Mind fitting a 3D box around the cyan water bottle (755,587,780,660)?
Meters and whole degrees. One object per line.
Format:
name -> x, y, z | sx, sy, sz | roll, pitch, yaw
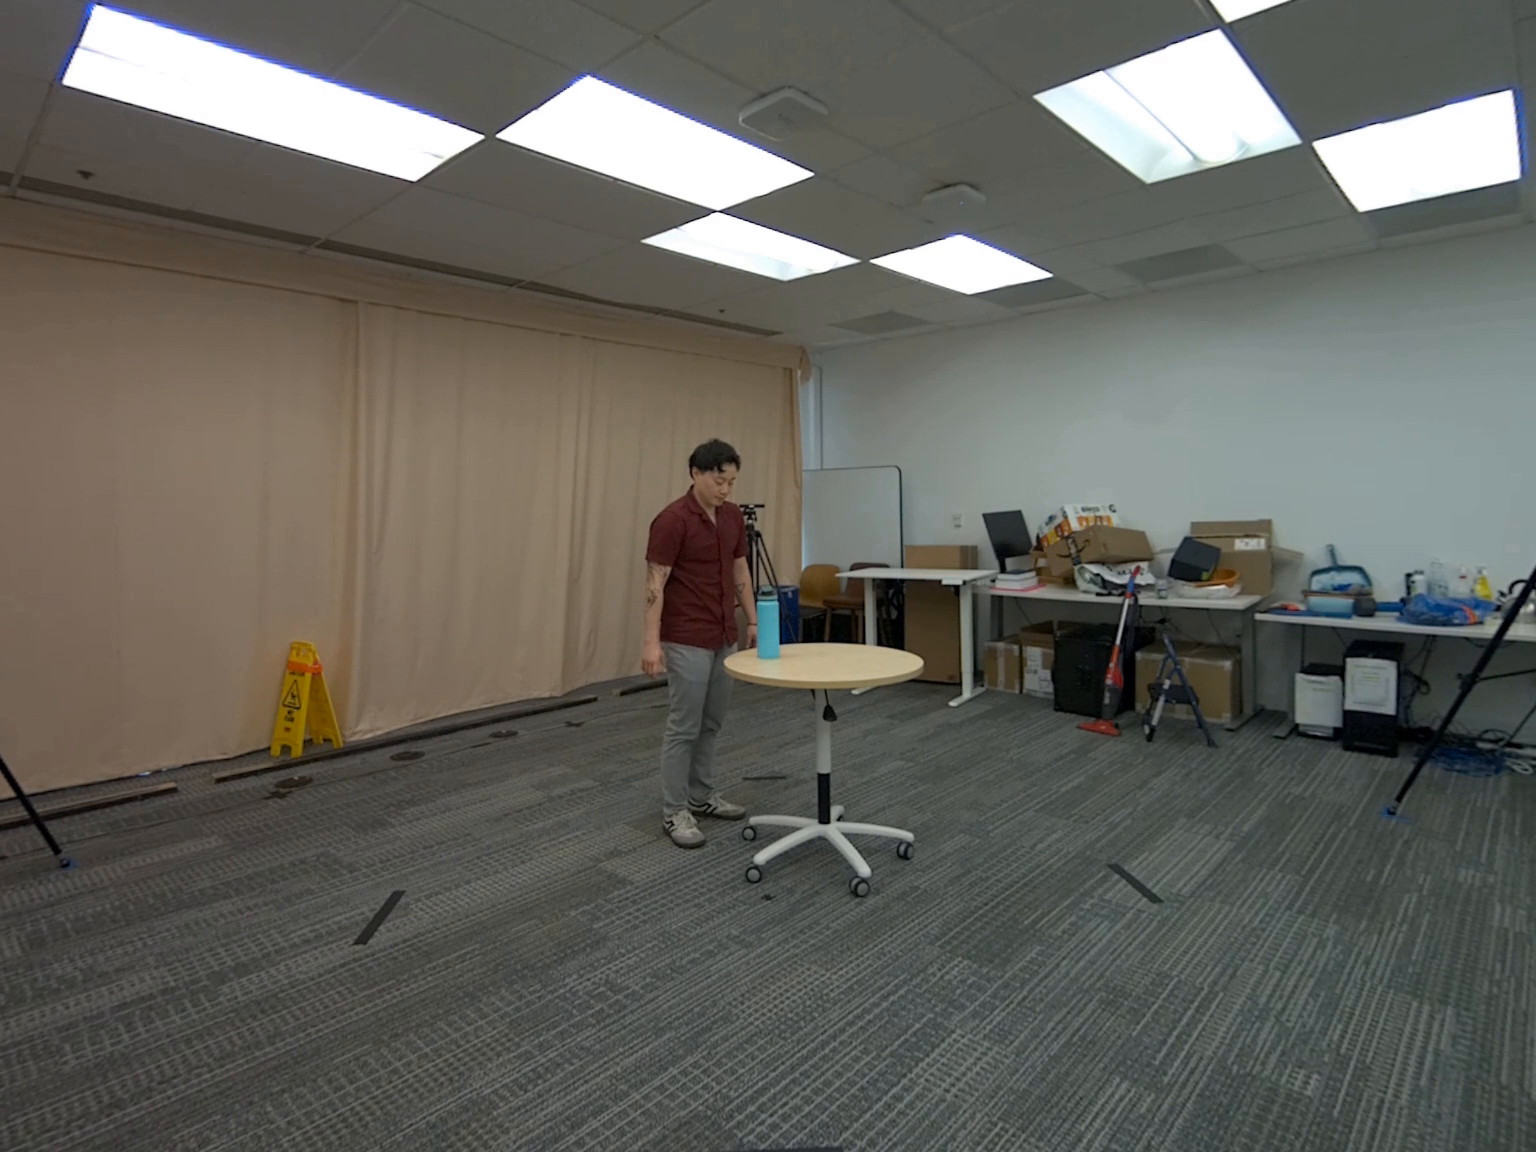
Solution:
cyan water bottle -> 0.001, 0.184, 3.355 | 0.092, 0.283, 0.092 | -2, 3, -2
